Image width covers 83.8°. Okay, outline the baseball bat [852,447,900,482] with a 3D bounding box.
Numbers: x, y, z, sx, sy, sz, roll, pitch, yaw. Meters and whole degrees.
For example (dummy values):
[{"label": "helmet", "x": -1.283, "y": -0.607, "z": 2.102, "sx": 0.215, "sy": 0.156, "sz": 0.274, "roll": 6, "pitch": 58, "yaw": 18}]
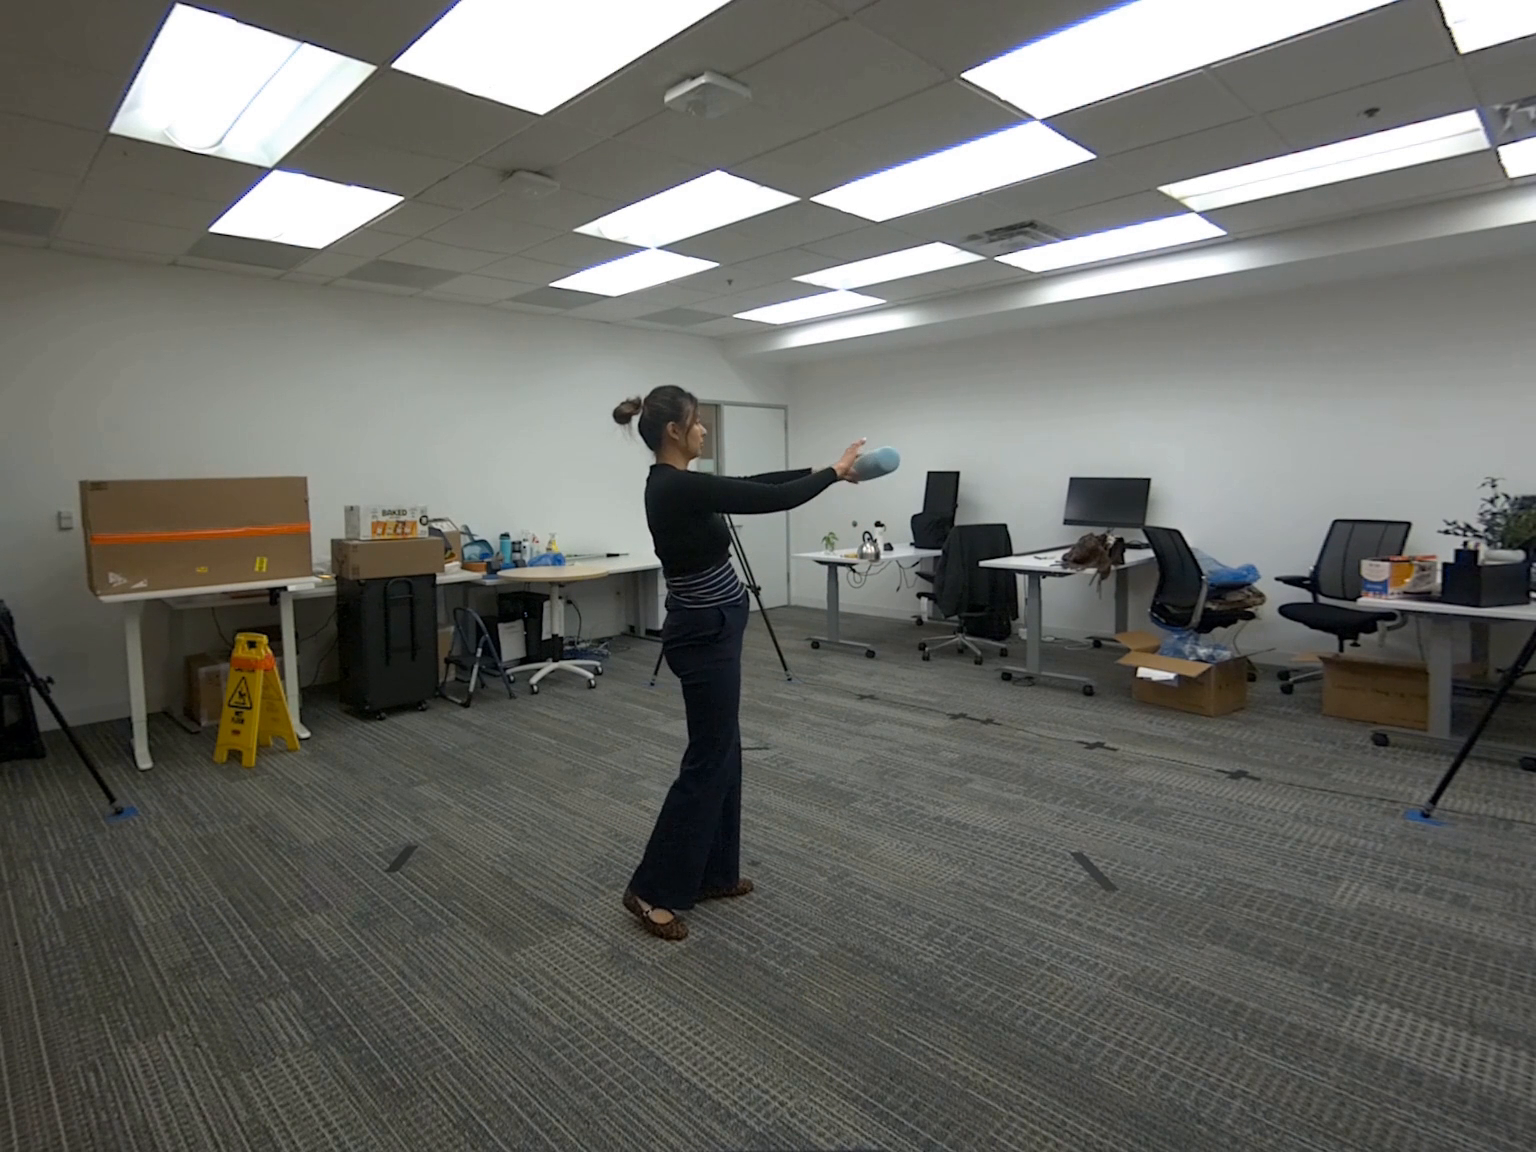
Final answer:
[{"label": "baseball bat", "x": 0.283, "y": -0.349, "z": 2.944, "sx": 0.088, "sy": 0.089, "sz": 0.549, "roll": -2, "pitch": -3, "yaw": -17}]
